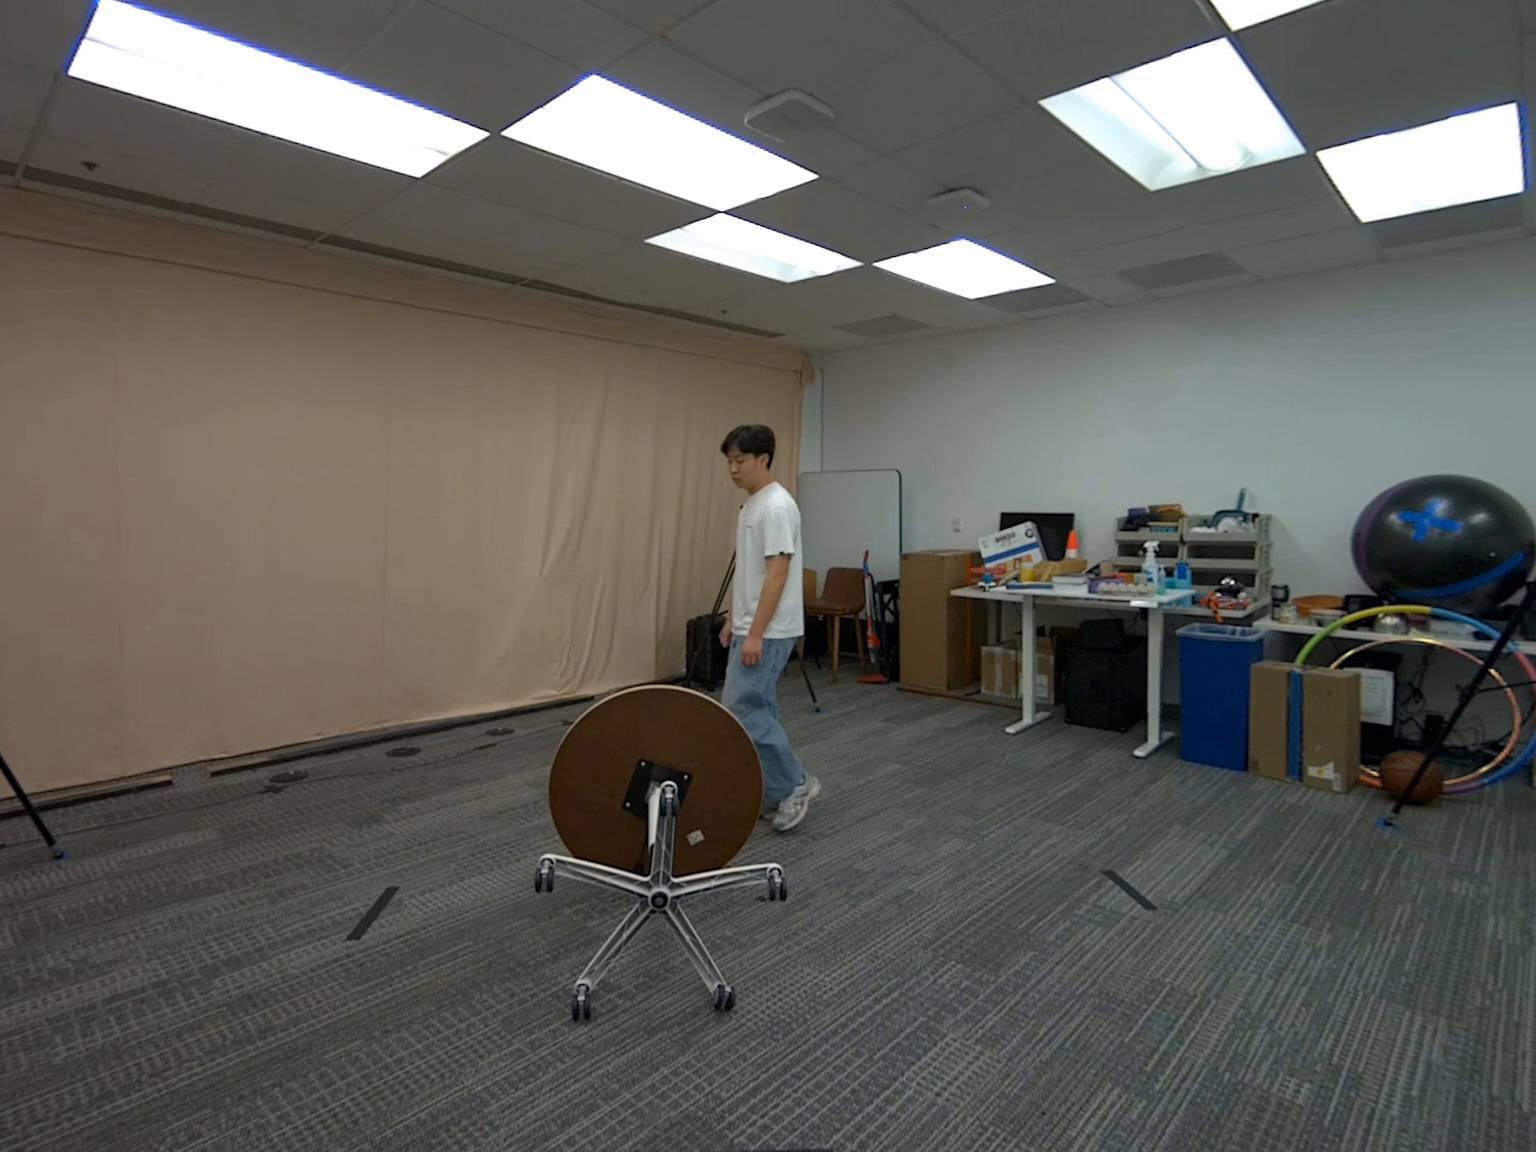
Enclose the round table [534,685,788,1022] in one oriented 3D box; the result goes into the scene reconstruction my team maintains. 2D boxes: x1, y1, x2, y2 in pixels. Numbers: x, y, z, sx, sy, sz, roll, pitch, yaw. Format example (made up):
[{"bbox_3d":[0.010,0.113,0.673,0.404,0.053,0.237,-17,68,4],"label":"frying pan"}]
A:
[{"bbox_3d":[-0.341,0.832,2.631,0.780,0.780,0.796,0,10,-7],"label":"round table"}]
